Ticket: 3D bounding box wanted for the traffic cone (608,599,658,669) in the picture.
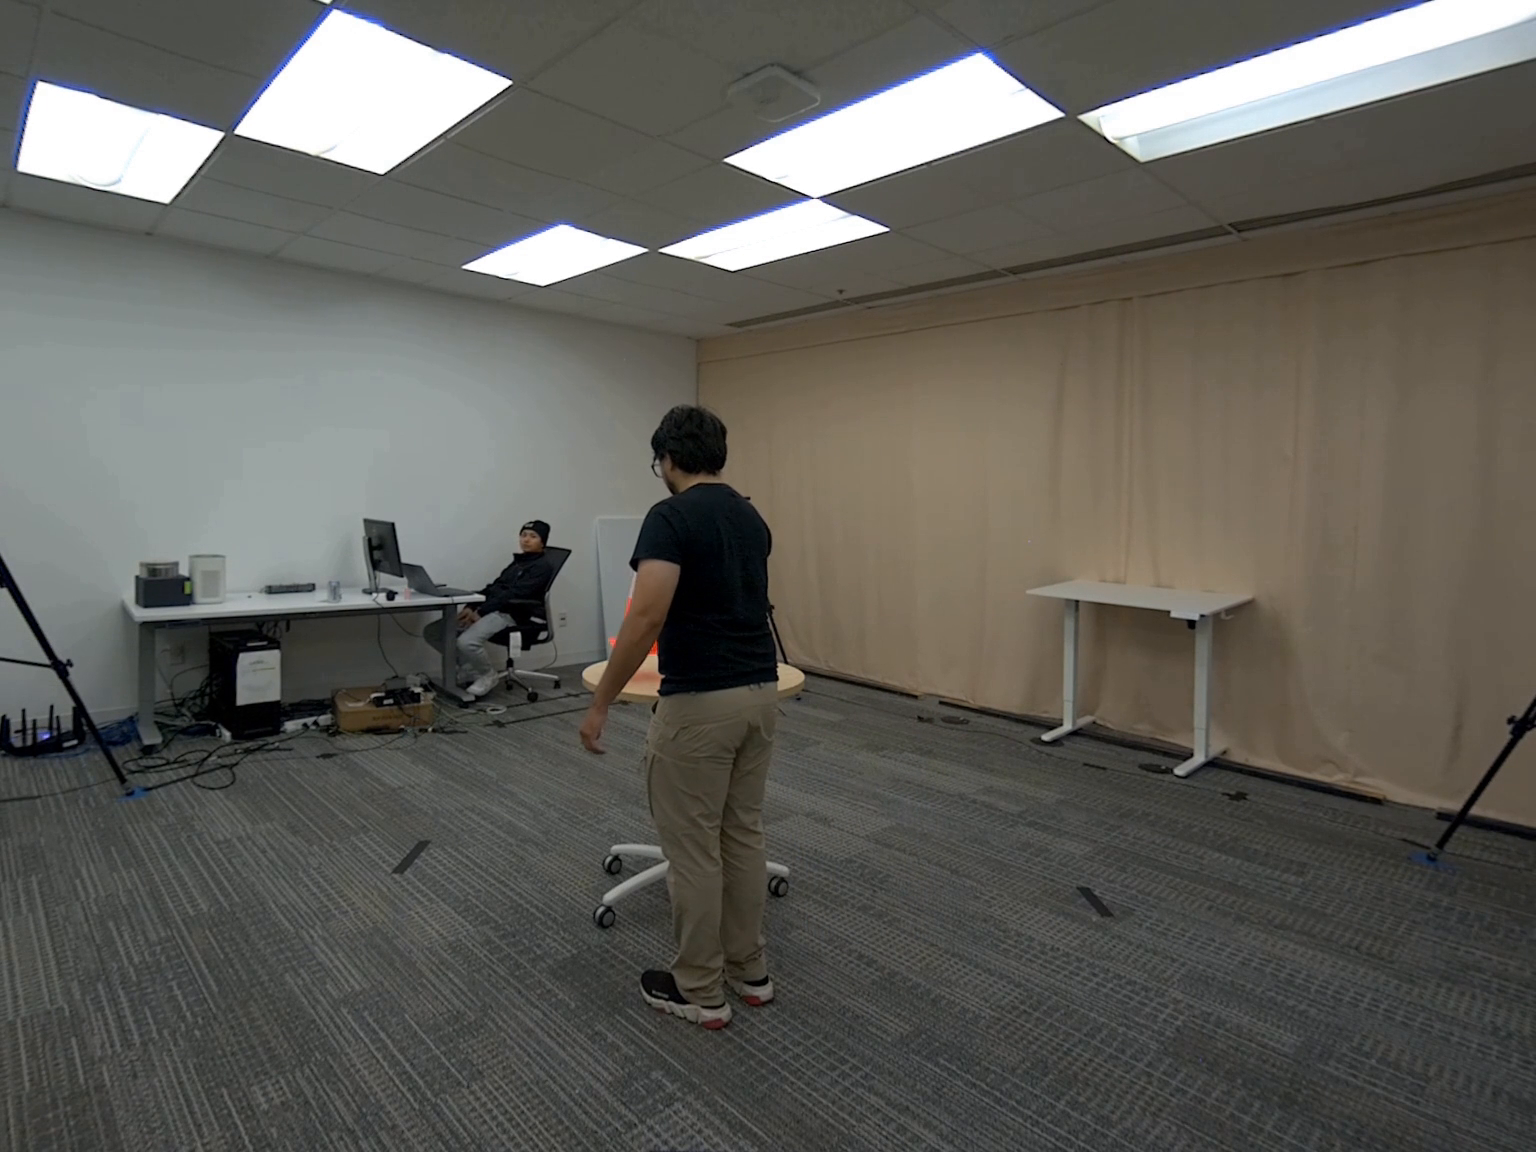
[{"bbox_3d":[-0.413,0.068,2.810,0.200,0.382,0.208,3,6,-31],"label":"traffic cone"}]
